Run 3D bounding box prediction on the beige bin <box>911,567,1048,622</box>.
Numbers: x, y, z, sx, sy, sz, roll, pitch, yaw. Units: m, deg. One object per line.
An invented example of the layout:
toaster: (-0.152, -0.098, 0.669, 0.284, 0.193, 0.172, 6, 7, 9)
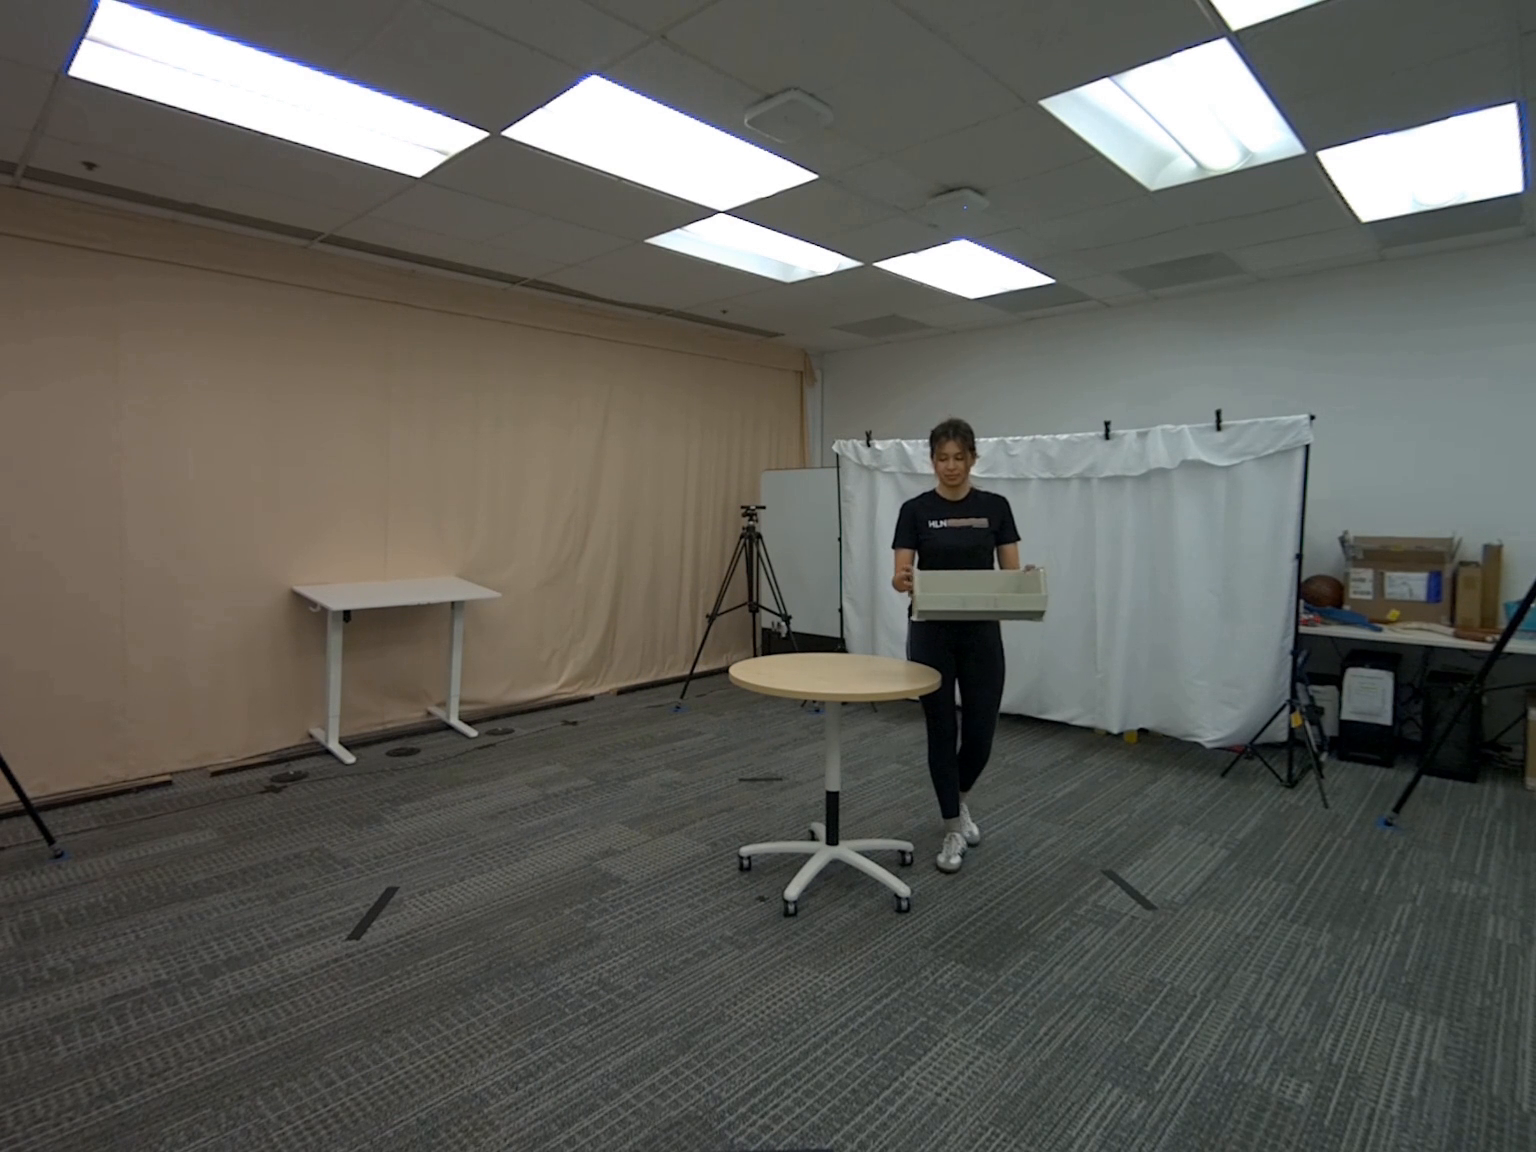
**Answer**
beige bin: (0.711, 0.066, 2.908, 0.427, 0.189, 0.372, 0, -5, 9)
